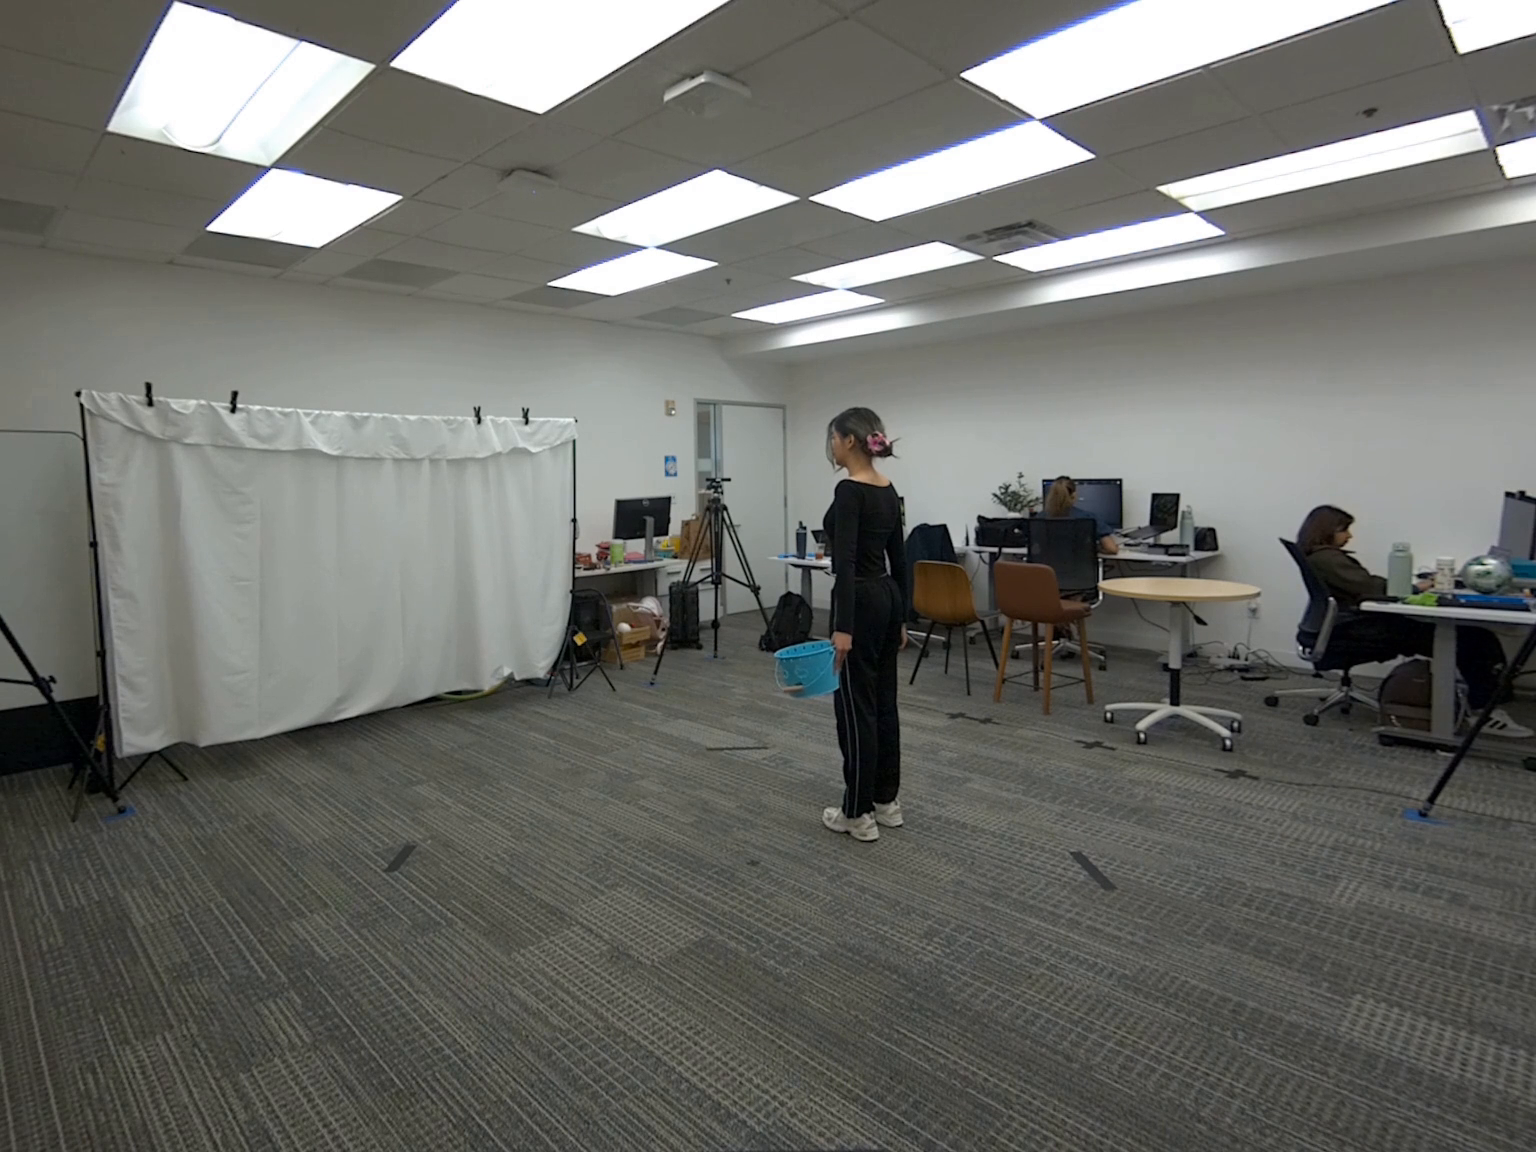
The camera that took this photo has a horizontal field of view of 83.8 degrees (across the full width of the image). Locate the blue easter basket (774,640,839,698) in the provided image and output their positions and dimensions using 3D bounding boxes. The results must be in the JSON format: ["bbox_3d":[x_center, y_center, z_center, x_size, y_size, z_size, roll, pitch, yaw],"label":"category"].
[{"bbox_3d":[0.138,0.335,3.031,0.243,0.155,0.244,-11,3,-1],"label":"blue easter basket"}]
